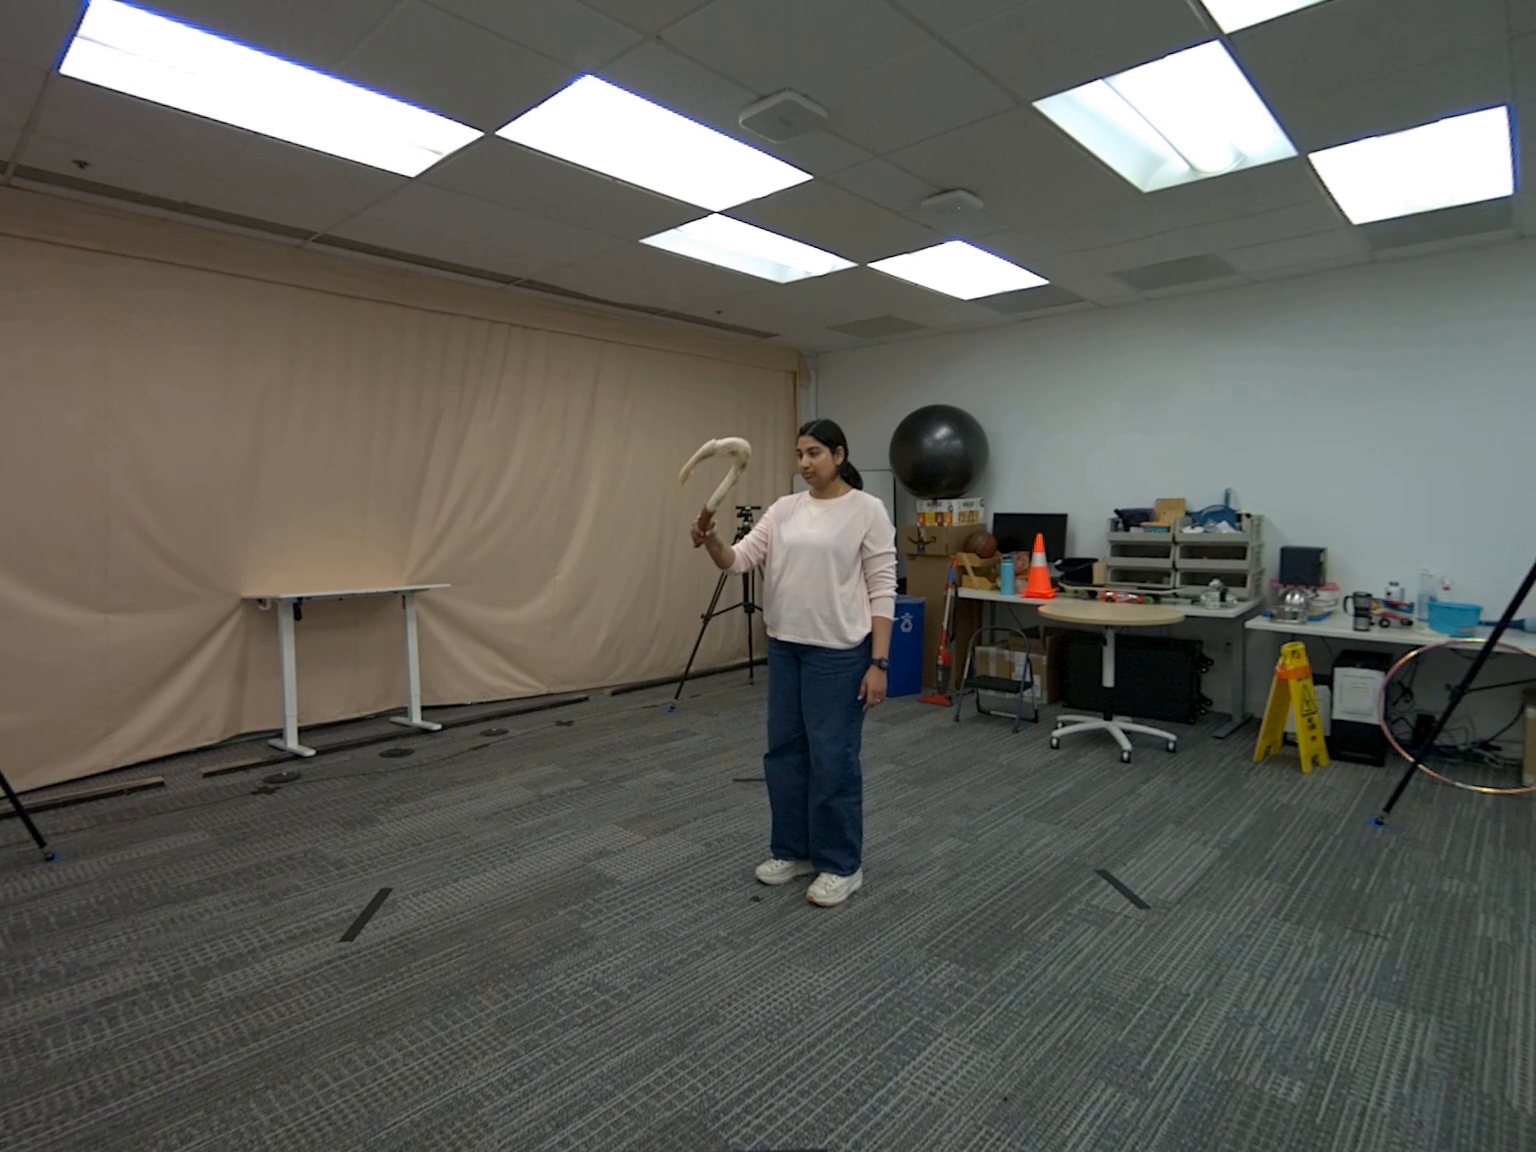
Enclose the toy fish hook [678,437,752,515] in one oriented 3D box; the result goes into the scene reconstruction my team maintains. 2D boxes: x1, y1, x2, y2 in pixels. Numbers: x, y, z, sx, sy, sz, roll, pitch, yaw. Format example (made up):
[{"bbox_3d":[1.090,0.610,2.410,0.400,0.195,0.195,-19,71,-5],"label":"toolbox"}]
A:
[{"bbox_3d":[-0.208,-0.243,2.639,0.219,0.049,0.504,-6,-36,-25],"label":"toy fish hook"}]
